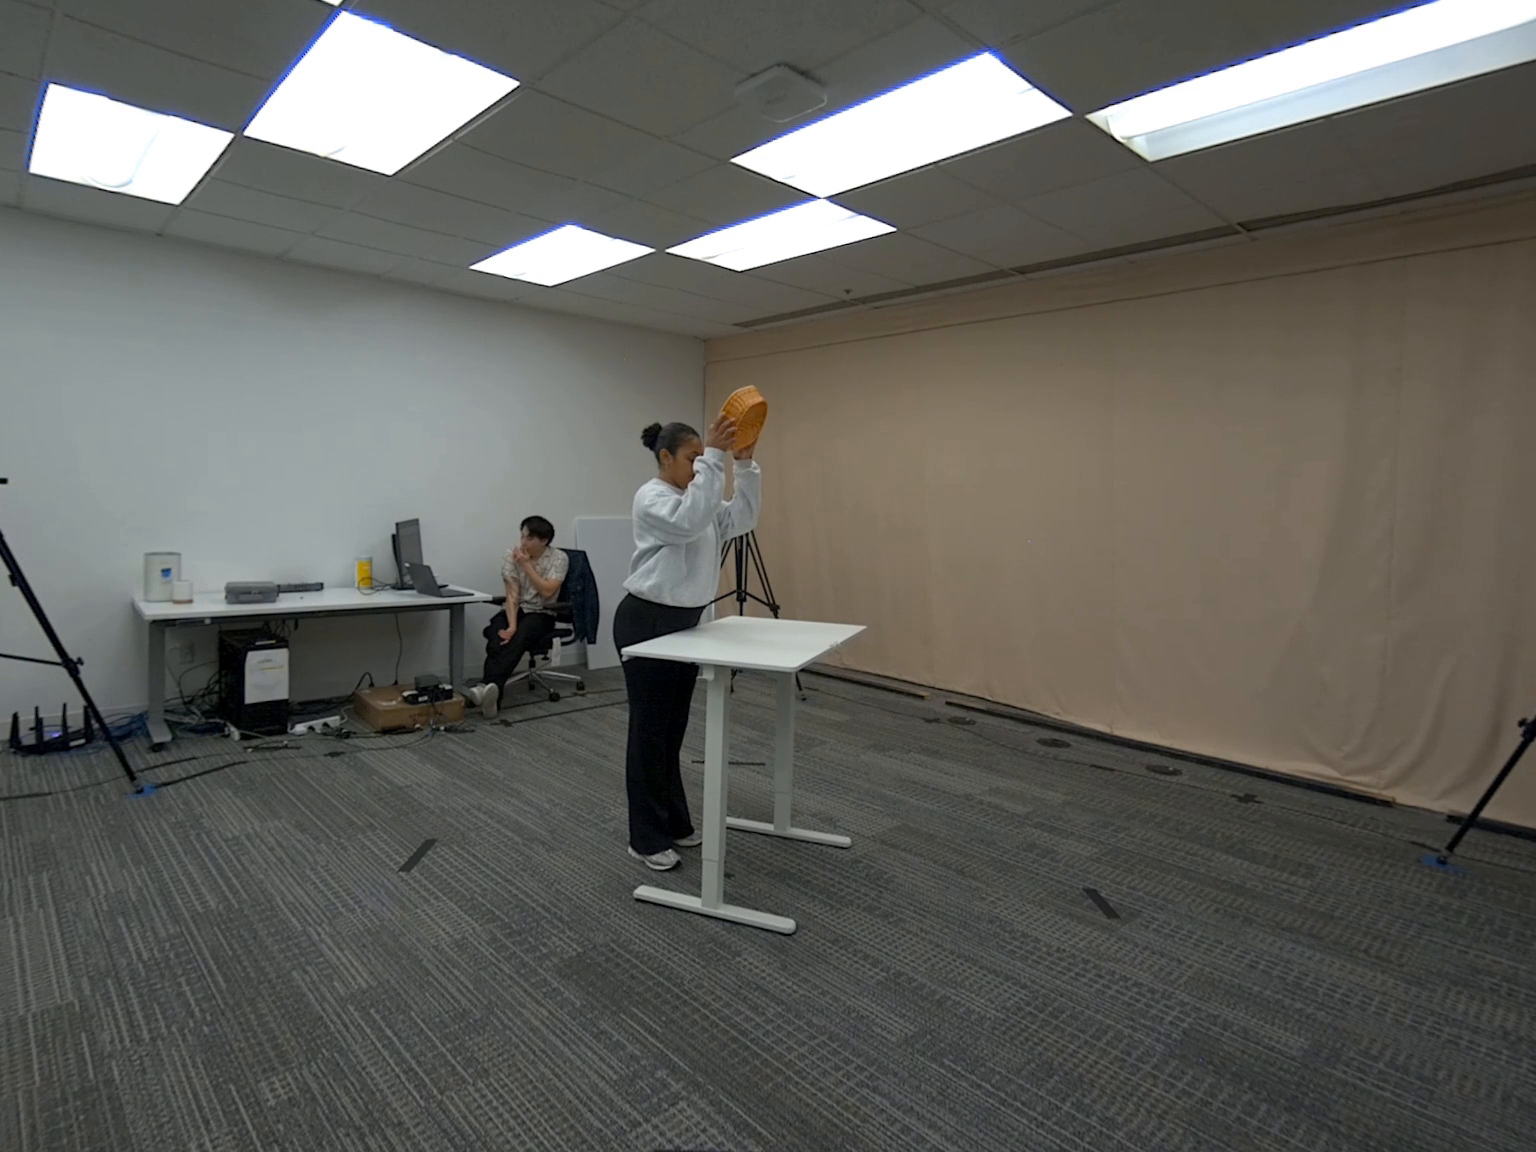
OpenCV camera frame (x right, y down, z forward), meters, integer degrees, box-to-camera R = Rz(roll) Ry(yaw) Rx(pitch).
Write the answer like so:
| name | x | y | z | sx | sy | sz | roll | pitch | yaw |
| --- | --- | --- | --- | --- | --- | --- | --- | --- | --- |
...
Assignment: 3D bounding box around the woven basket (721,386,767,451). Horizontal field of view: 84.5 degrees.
| name | x | y | z | sx | sy | sz | roll | pitch | yaw |
| --- | --- | --- | --- | --- | --- | --- | --- | --- | --- |
| woven basket | -0.107 | -0.560 | 3.102 | 0.074 | 0.249 | 0.349 | 26 | 33 | 14 |
